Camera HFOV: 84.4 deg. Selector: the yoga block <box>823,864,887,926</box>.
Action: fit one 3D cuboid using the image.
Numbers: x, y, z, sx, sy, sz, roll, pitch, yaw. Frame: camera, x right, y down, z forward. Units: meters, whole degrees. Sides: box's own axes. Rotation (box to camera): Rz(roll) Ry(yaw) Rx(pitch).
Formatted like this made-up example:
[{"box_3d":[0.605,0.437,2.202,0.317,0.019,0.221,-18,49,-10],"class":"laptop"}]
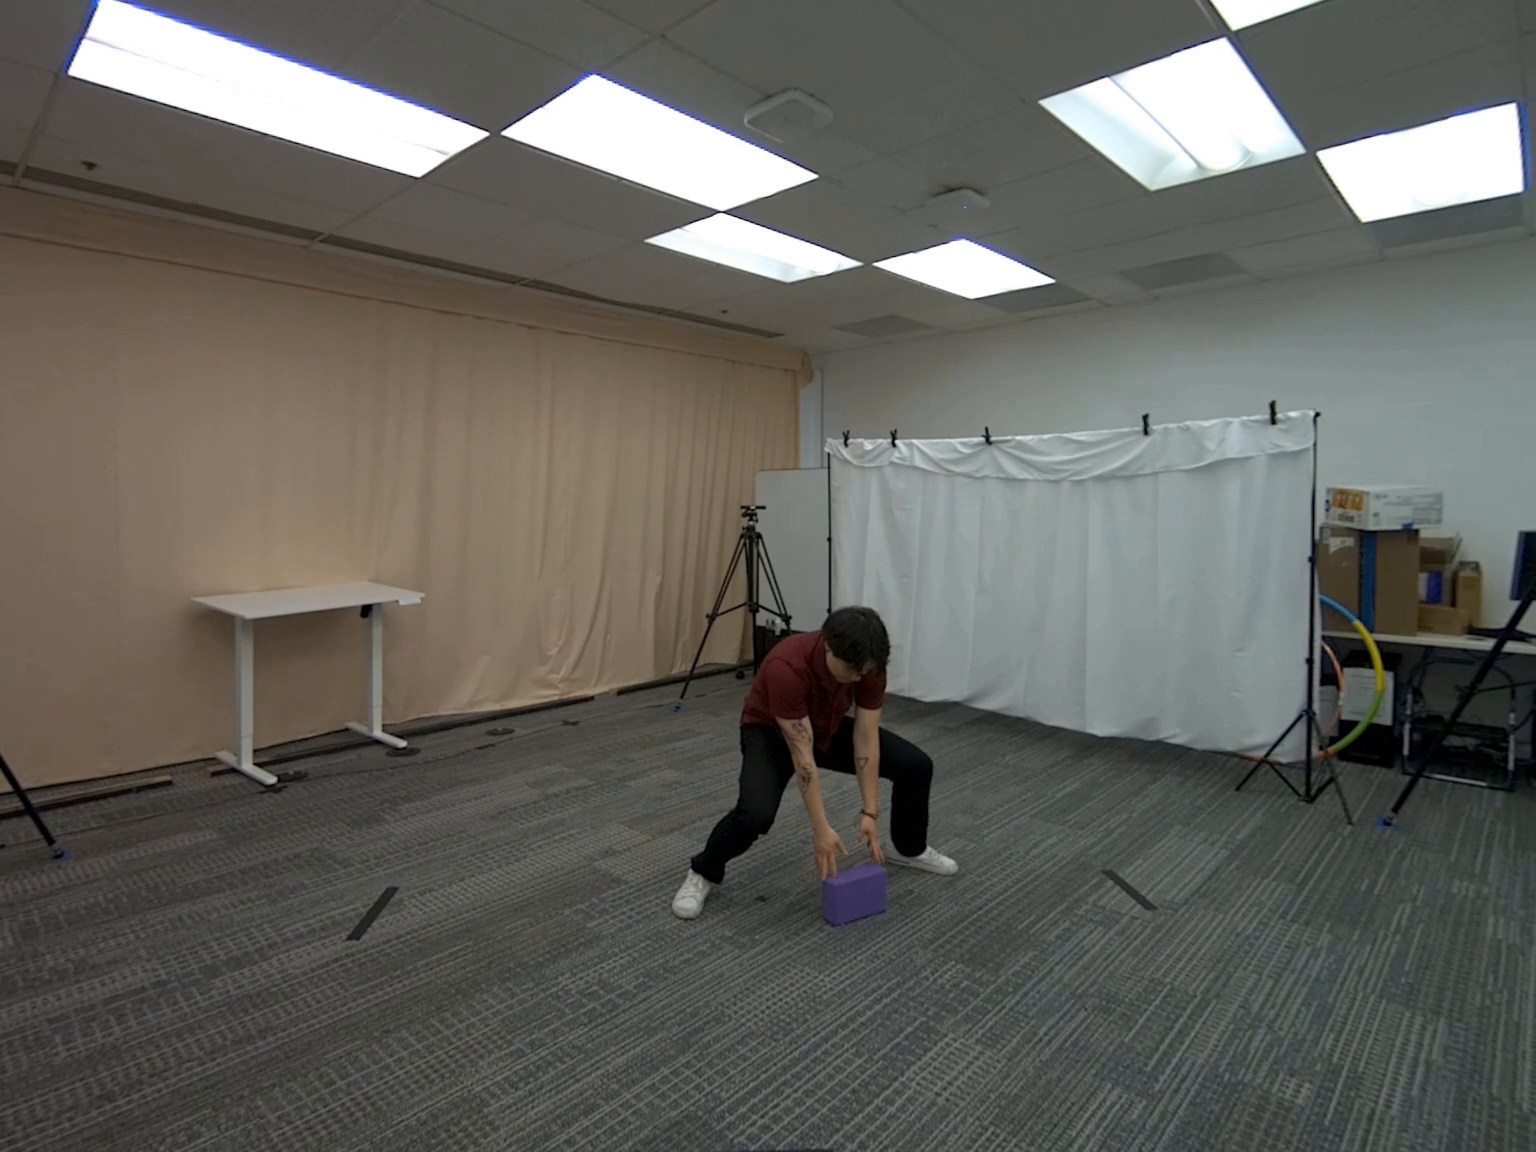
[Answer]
[{"box_3d":[0.302,1.078,2.853,0.223,0.149,0.078,-3,4,-30],"class":"yoga block"}]
